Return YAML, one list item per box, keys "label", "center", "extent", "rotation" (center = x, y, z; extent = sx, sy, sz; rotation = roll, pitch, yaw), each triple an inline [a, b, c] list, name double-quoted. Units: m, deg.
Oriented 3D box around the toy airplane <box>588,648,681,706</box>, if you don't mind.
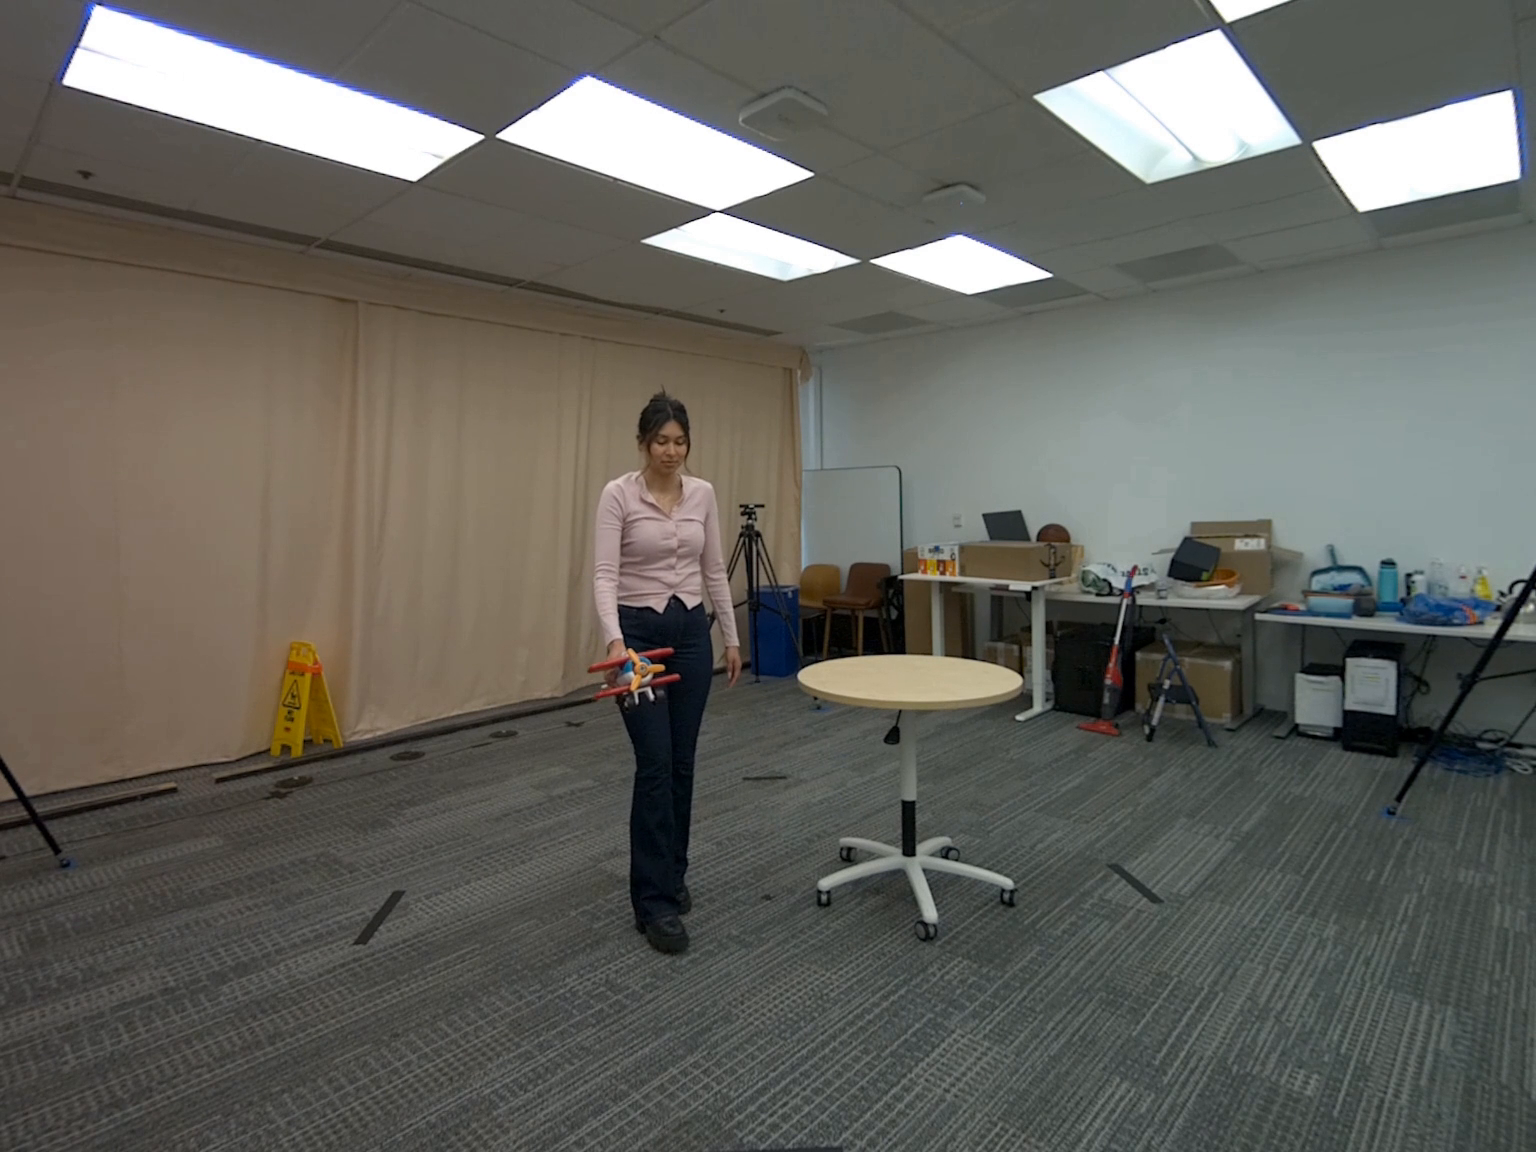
- label: "toy airplane"
  center: [-0.414, 0.300, 2.432]
  extent: [0.267, 0.156, 0.245]
  rotation: [-3, 8, 34]
